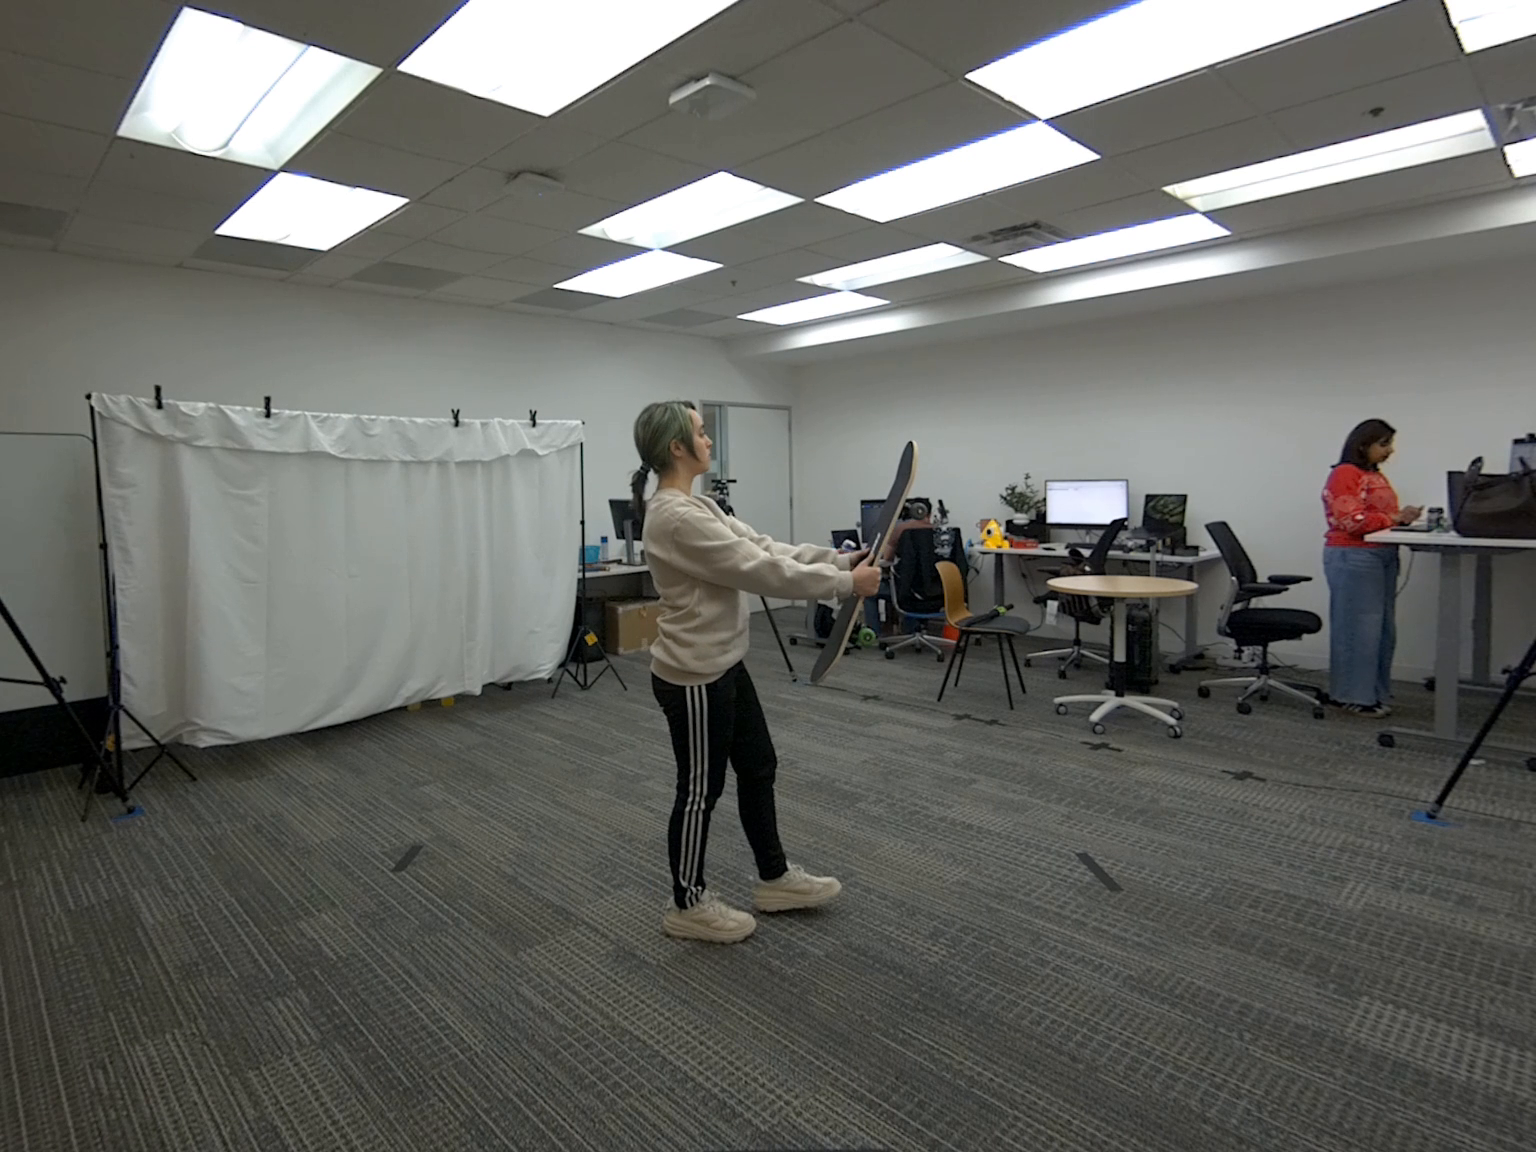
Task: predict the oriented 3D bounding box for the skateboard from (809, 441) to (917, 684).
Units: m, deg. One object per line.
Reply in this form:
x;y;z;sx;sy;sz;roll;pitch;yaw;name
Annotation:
0.328;-0.021;2.575;0.110;0.785;0.194;22;1;-5;skateboard
